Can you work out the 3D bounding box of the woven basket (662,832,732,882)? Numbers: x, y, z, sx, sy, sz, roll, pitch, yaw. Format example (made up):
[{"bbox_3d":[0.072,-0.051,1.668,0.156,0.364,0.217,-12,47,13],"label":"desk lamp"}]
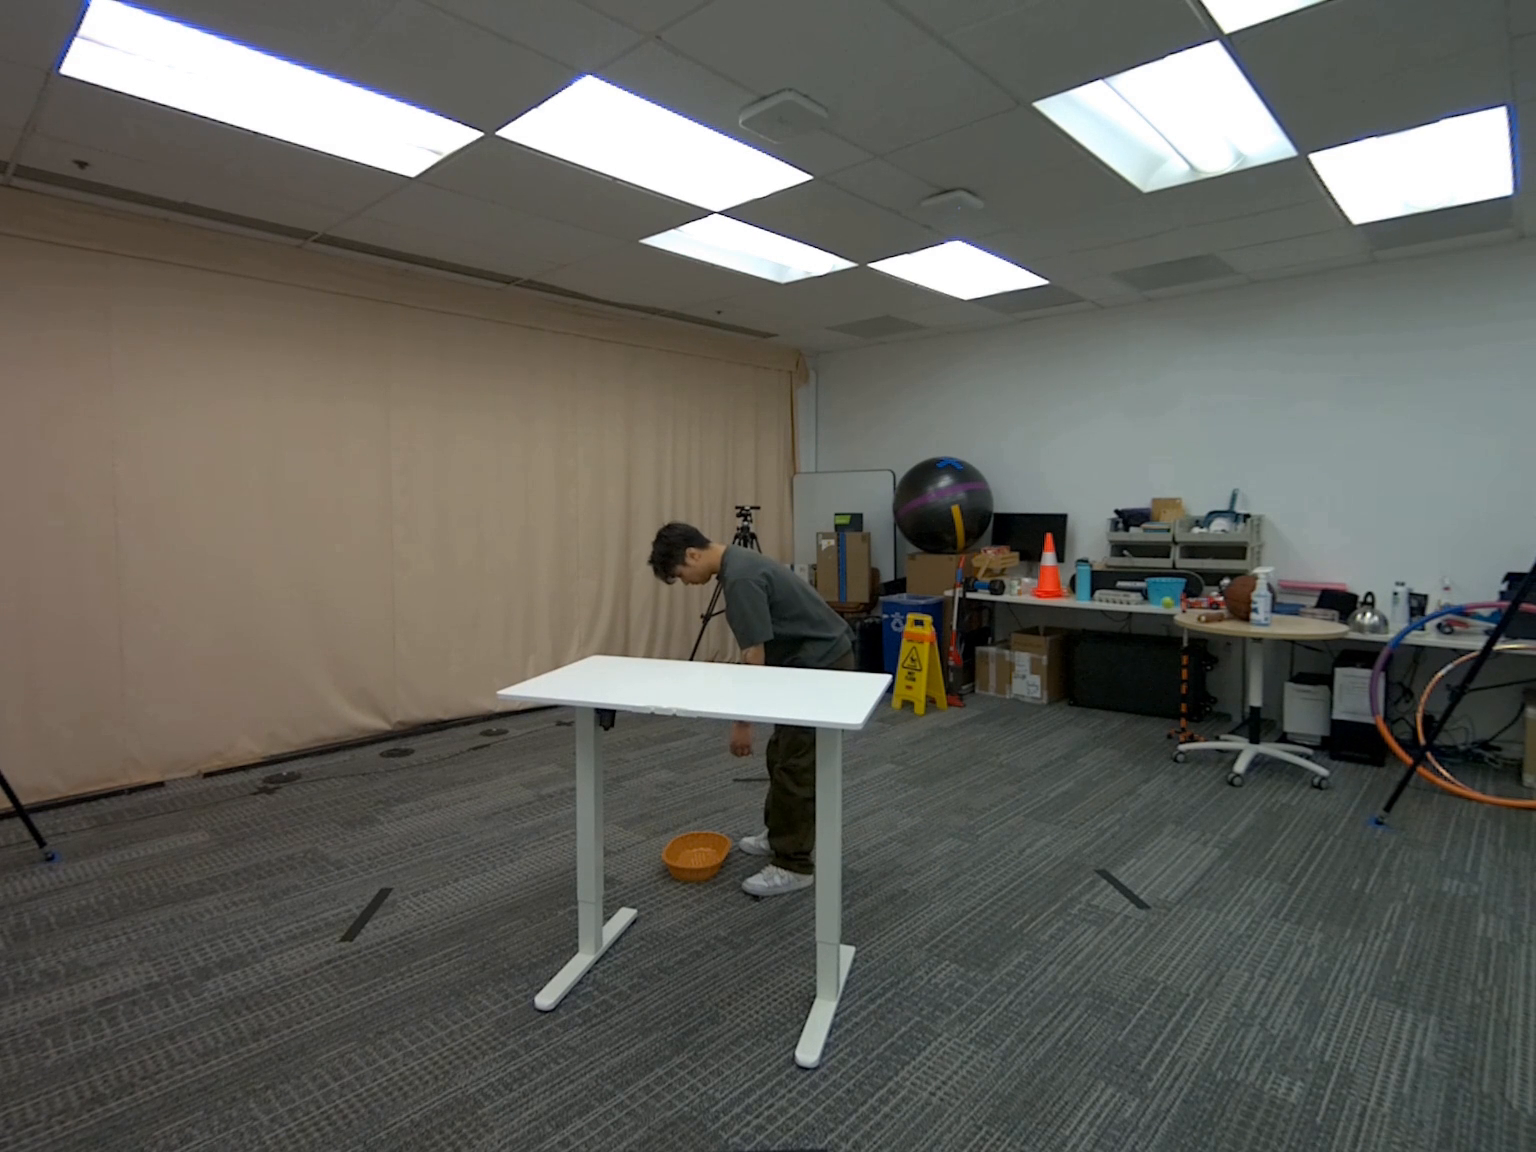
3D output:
[{"bbox_3d":[-0.275,1.089,3.259,0.257,0.073,0.345,0,5,15],"label":"woven basket"}]
